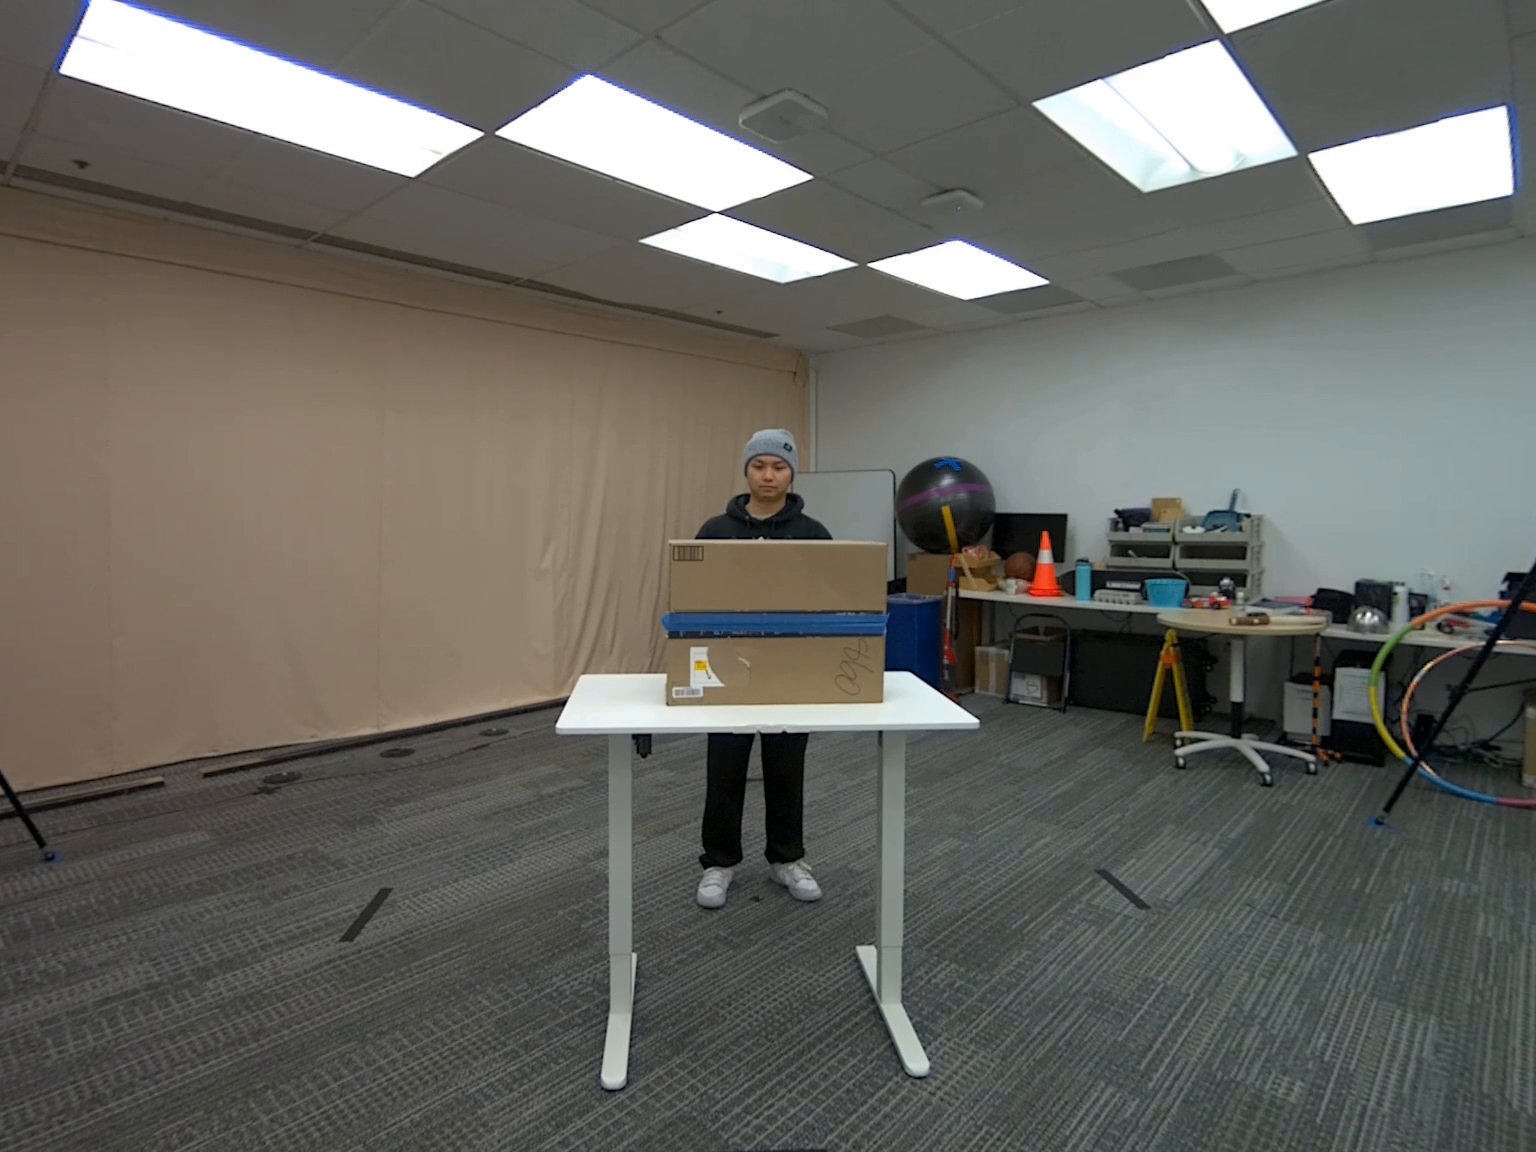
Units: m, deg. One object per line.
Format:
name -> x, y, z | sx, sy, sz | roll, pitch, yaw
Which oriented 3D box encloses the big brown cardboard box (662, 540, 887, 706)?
big brown cardboard box -> 0.009, 0.114, 2.262 | 0.586, 0.416, 0.235 | 0, 4, -5
